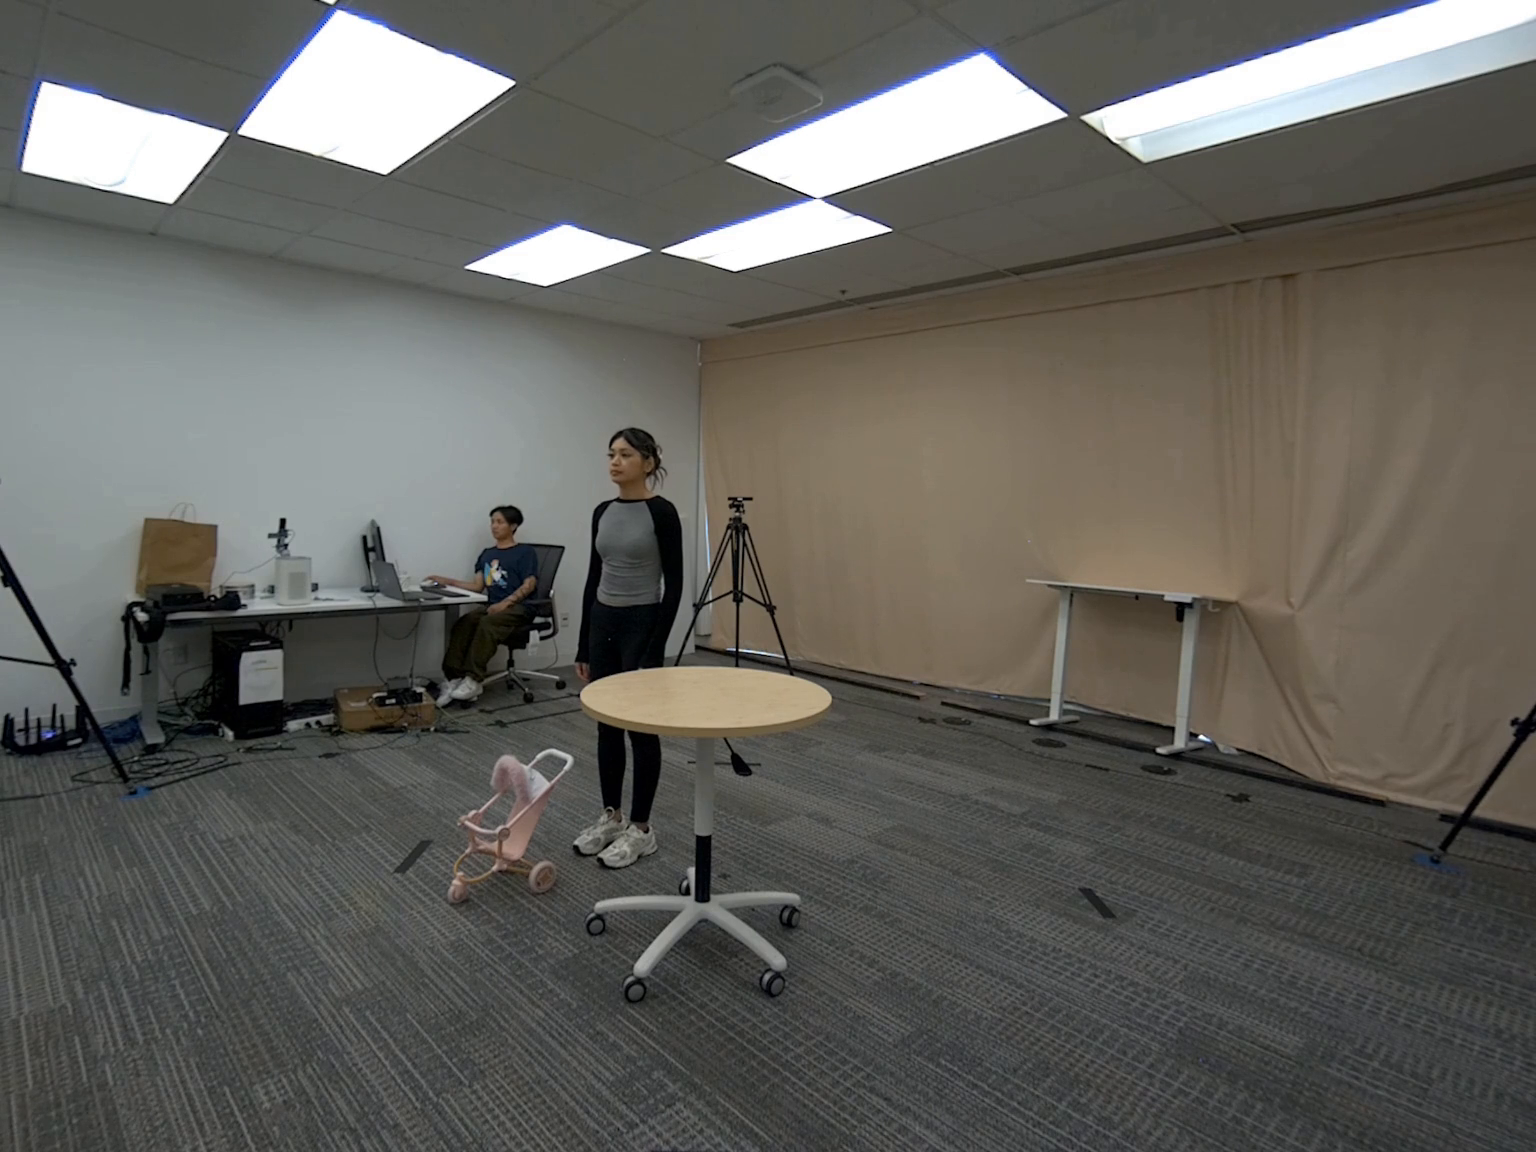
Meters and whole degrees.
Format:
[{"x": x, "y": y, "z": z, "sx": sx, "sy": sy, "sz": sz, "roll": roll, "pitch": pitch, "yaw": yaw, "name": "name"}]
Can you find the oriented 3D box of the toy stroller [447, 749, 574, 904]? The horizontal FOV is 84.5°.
[{"x": -0.928, "y": 0.878, "z": 2.973, "sx": 0.331, "sy": 0.537, "sz": 0.288, "roll": 18, "pitch": -8, "yaw": -41, "name": "toy stroller"}]
